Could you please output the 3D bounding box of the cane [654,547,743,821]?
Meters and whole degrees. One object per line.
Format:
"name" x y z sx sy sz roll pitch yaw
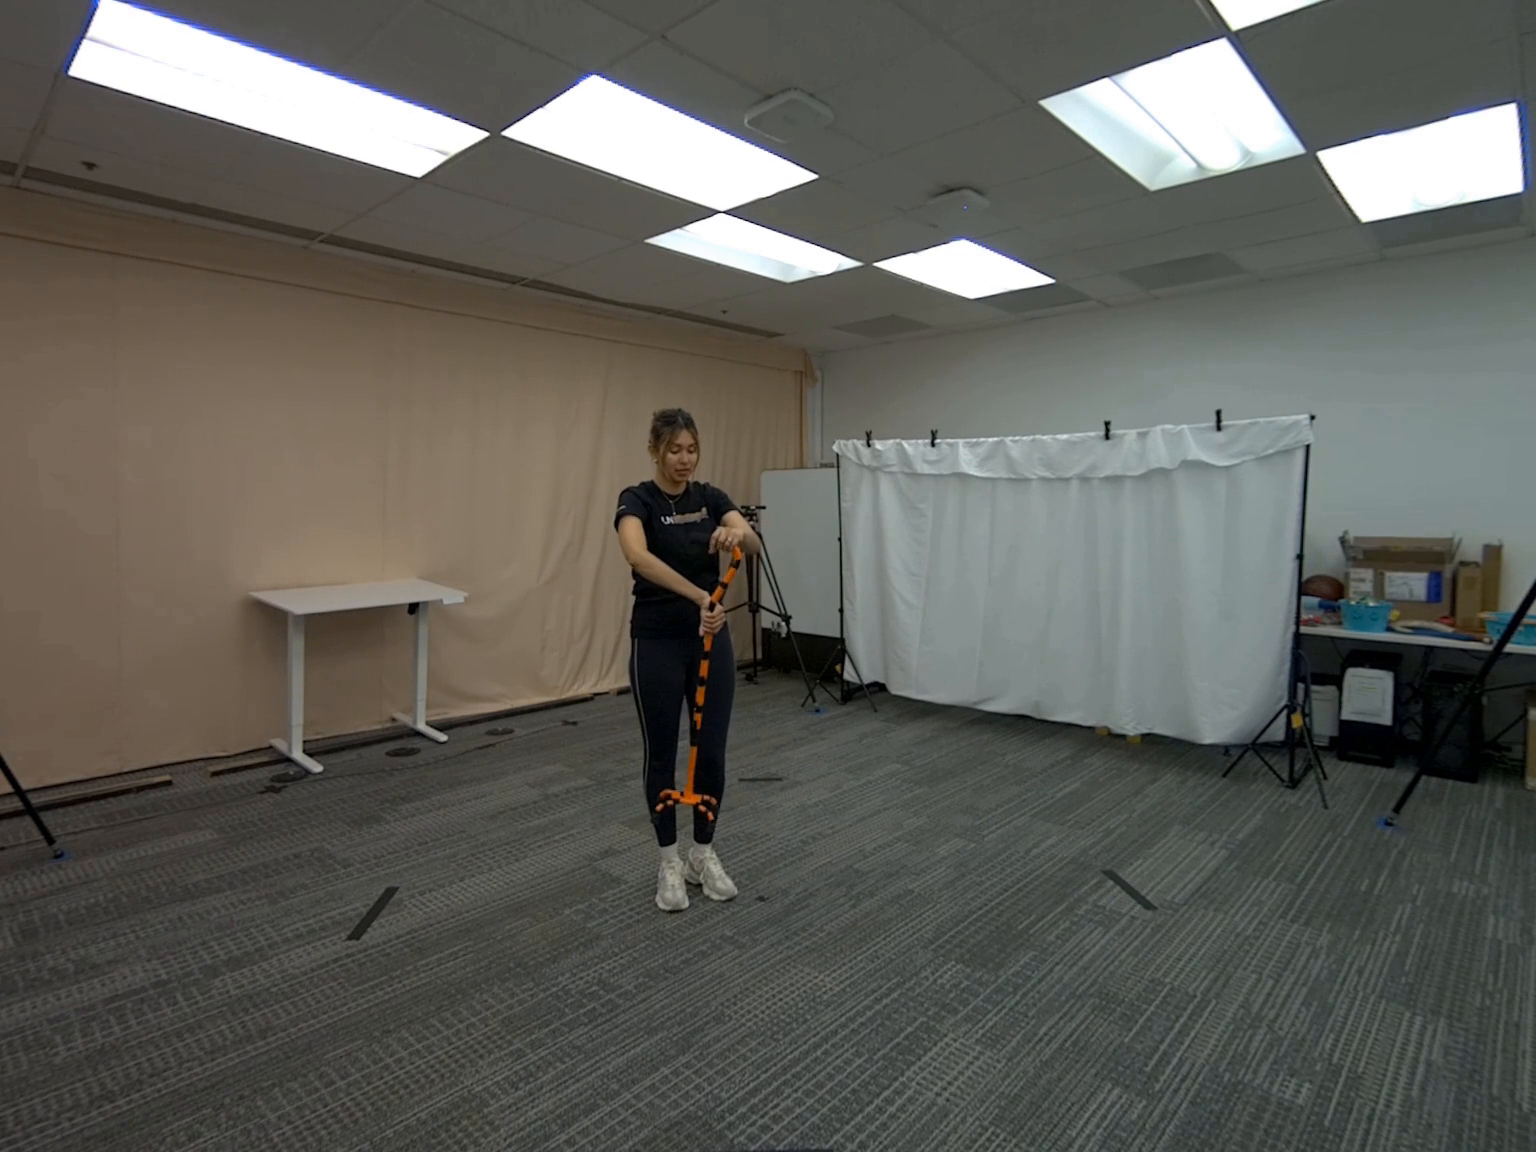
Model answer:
"cane" -0.190 0.329 2.615 0.208 0.904 0.151 8 9 4
